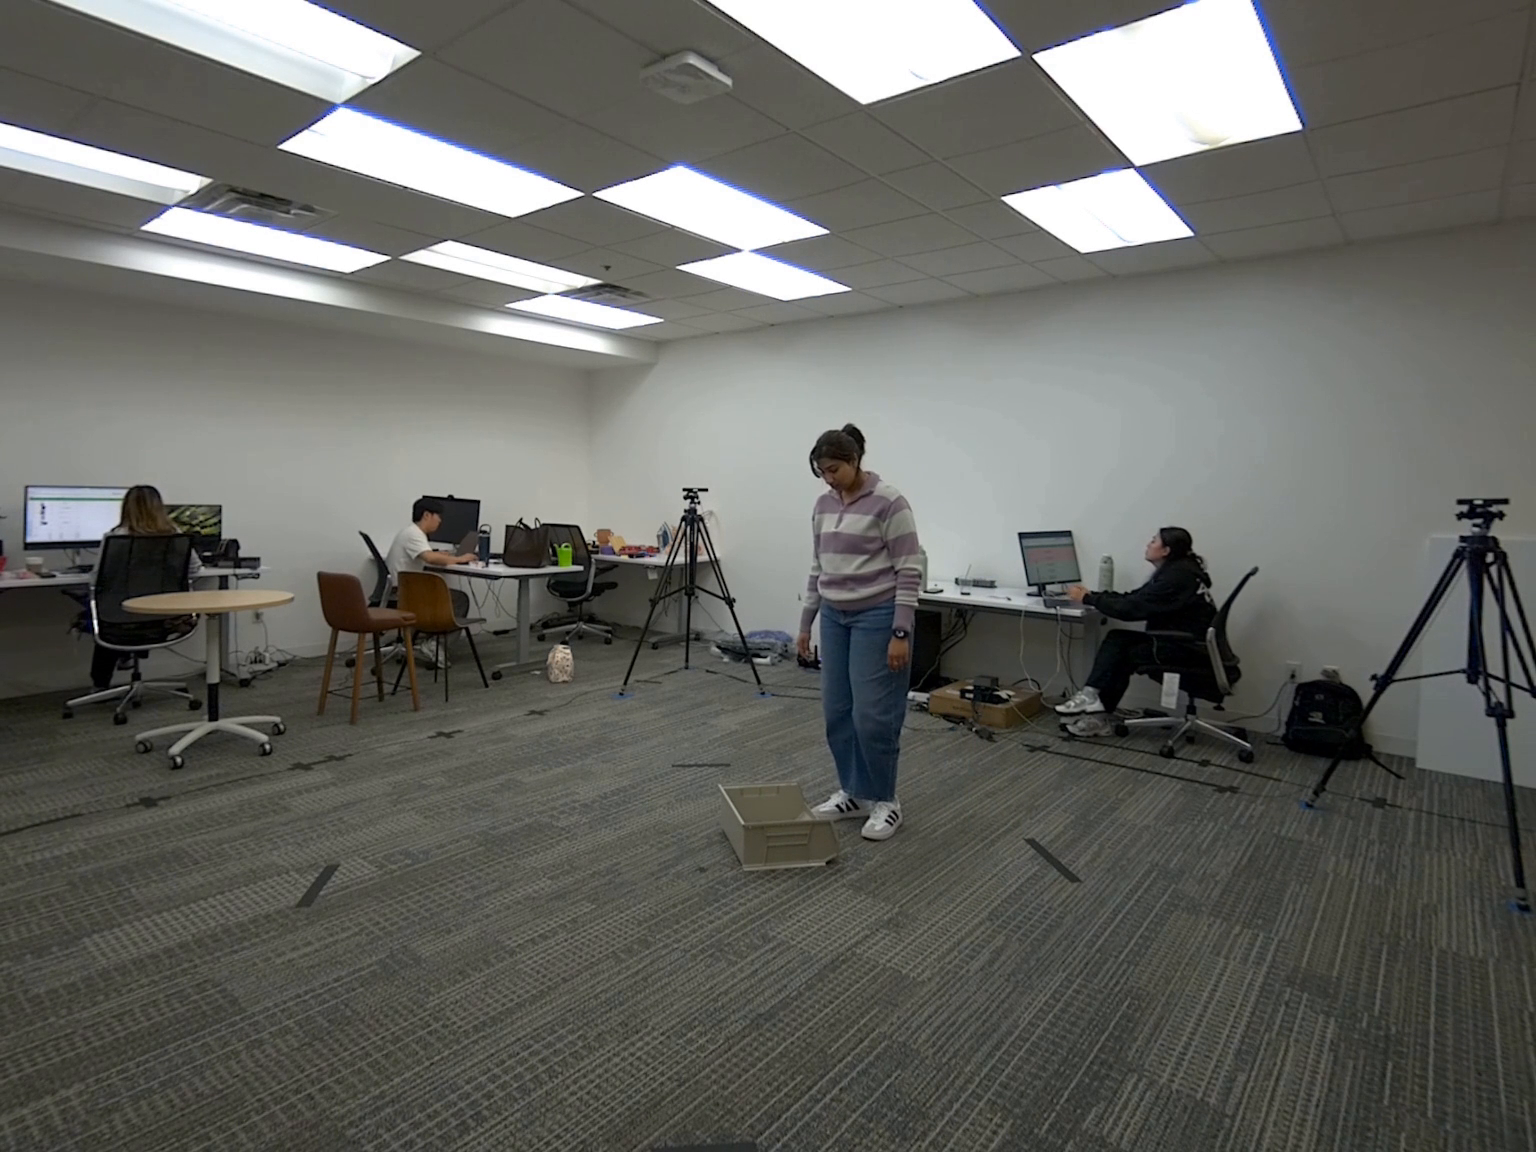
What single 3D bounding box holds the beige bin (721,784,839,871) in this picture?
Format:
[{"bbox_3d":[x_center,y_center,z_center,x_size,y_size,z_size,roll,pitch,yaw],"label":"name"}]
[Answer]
[{"bbox_3d":[0.023,0.965,3.330,0.372,0.188,0.430,-1,6,-14],"label":"beige bin"}]
